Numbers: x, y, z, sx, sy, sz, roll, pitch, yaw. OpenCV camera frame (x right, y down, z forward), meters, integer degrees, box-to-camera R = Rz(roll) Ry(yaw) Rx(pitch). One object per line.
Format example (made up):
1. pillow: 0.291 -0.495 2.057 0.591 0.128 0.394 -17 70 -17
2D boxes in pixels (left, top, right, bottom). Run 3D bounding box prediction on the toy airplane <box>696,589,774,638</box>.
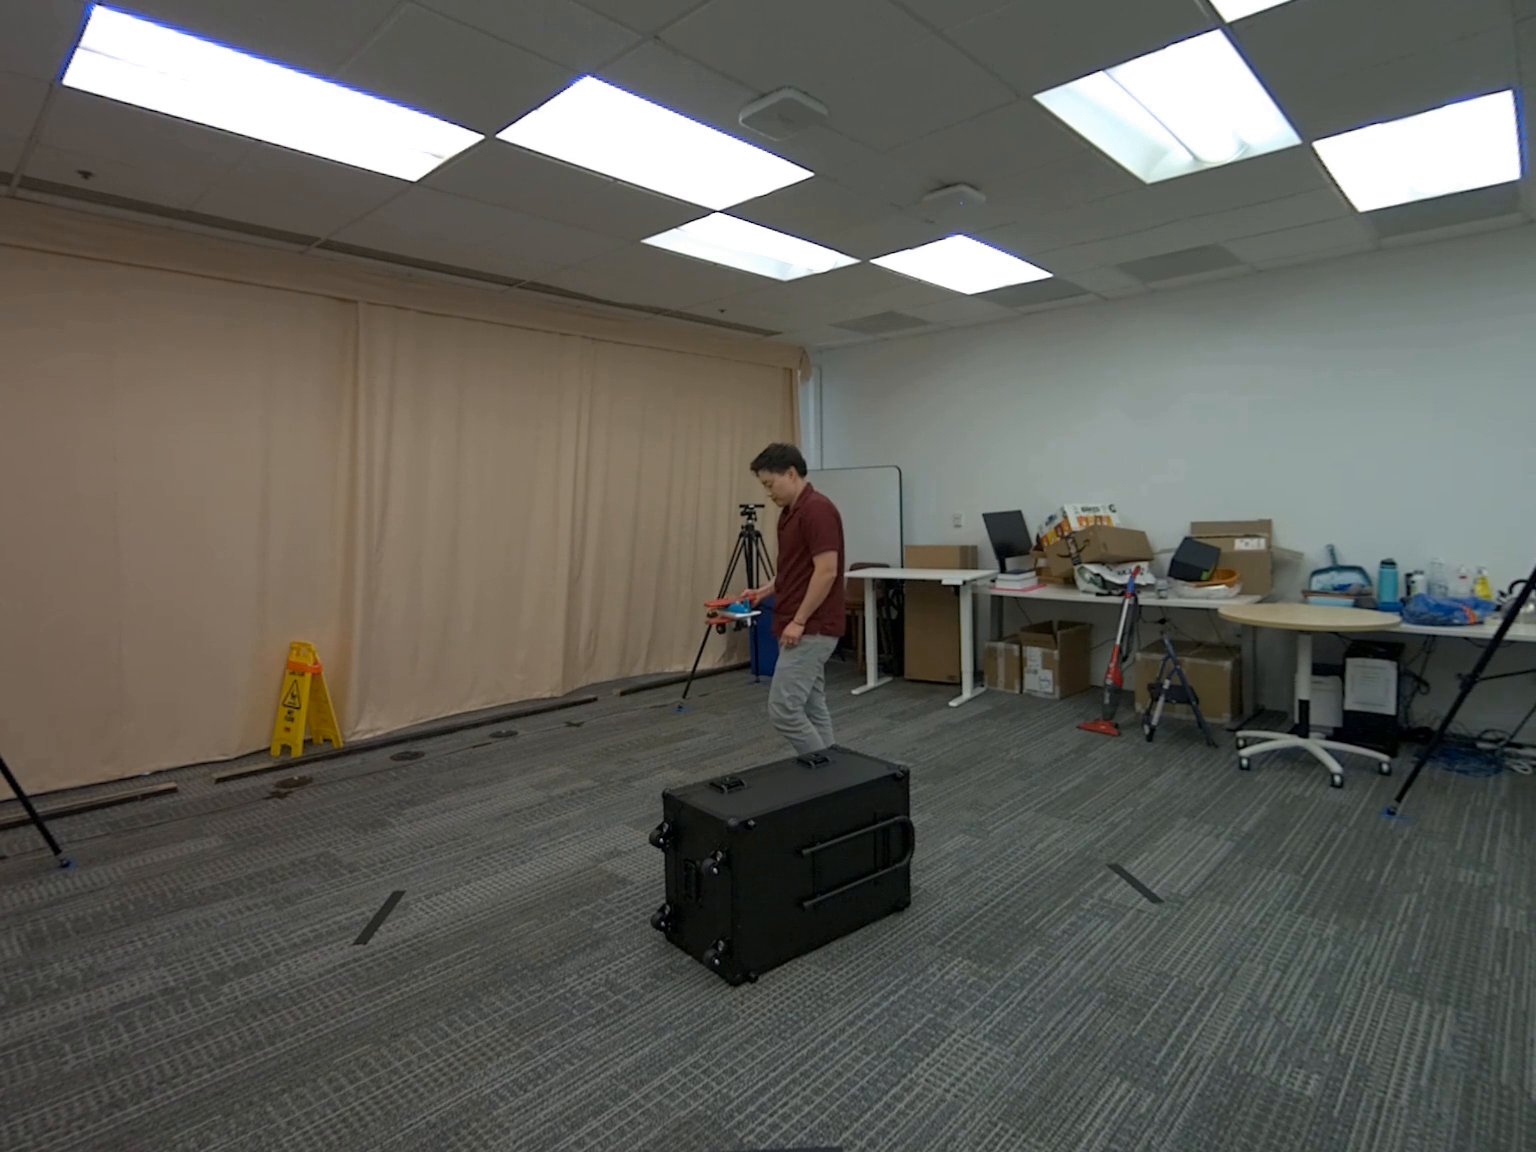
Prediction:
1. toy airplane: -0.130 0.163 3.754 0.265 0.157 0.243 -16 -9 34
